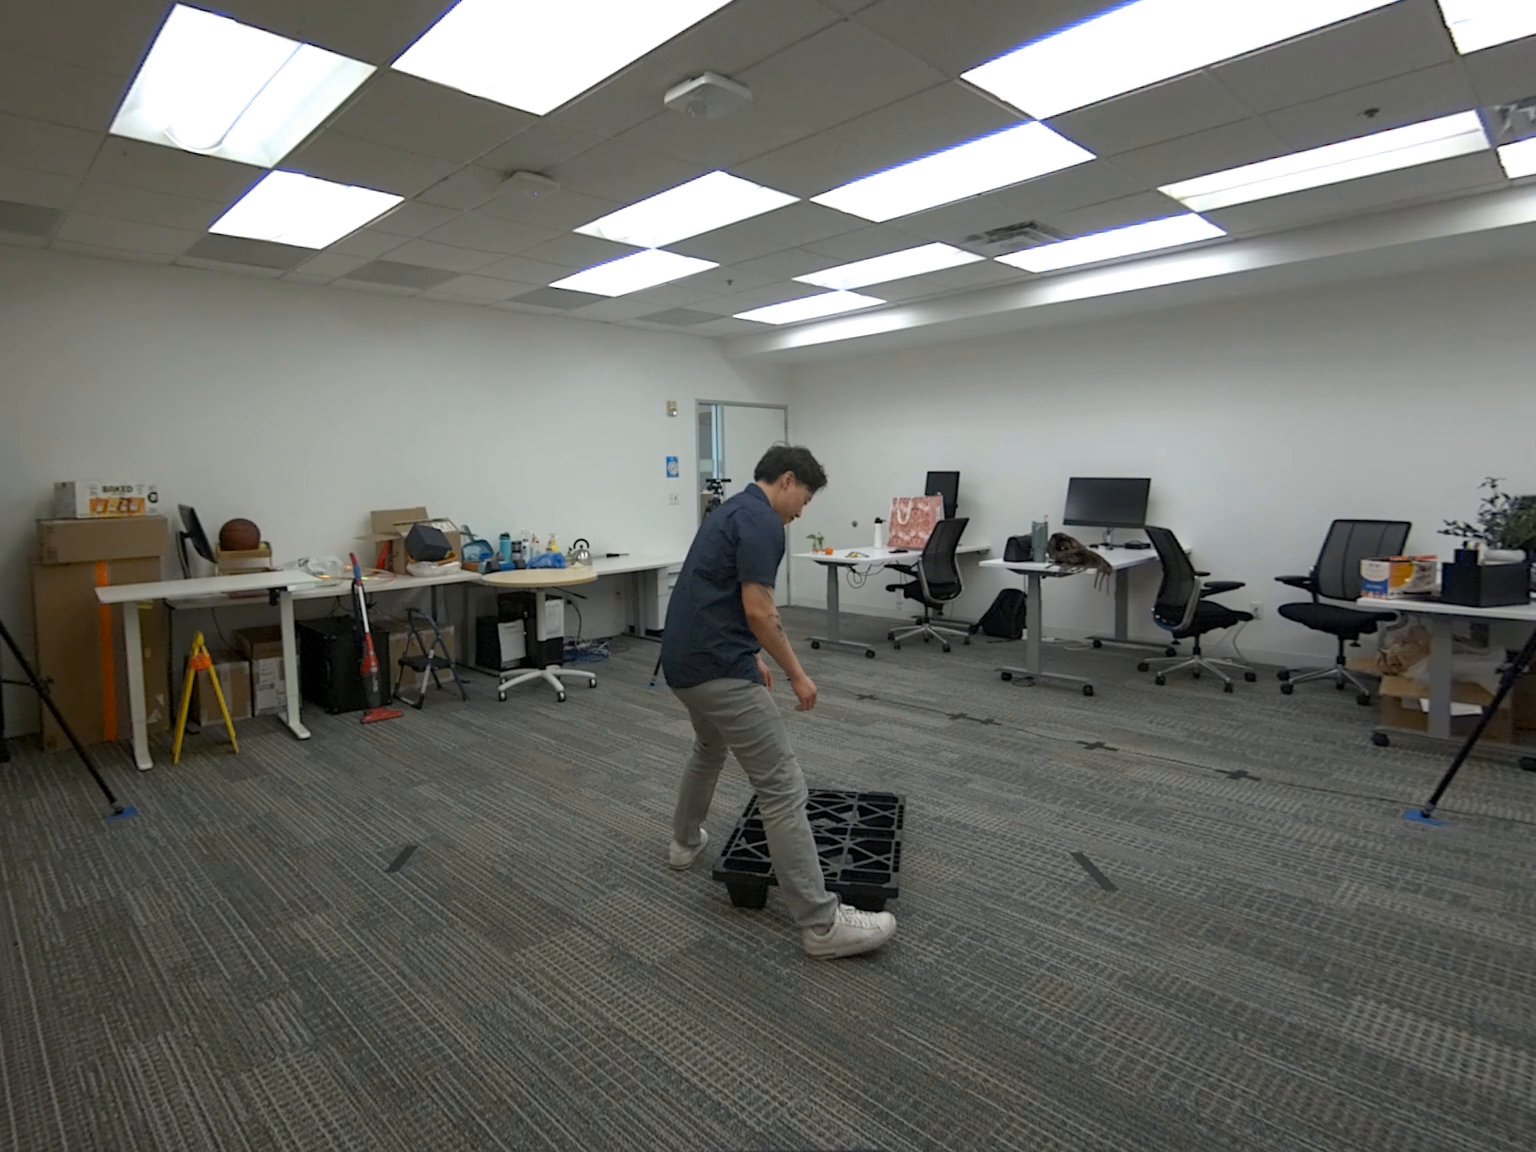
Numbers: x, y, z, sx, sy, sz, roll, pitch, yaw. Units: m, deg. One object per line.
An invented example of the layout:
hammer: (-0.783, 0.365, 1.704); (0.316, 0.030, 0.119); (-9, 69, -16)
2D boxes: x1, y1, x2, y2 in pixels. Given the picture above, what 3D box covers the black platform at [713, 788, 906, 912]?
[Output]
black platform: (0.180, 0.975, 3.086); (0.613, 0.143, 0.799); (0, 6, 12)
